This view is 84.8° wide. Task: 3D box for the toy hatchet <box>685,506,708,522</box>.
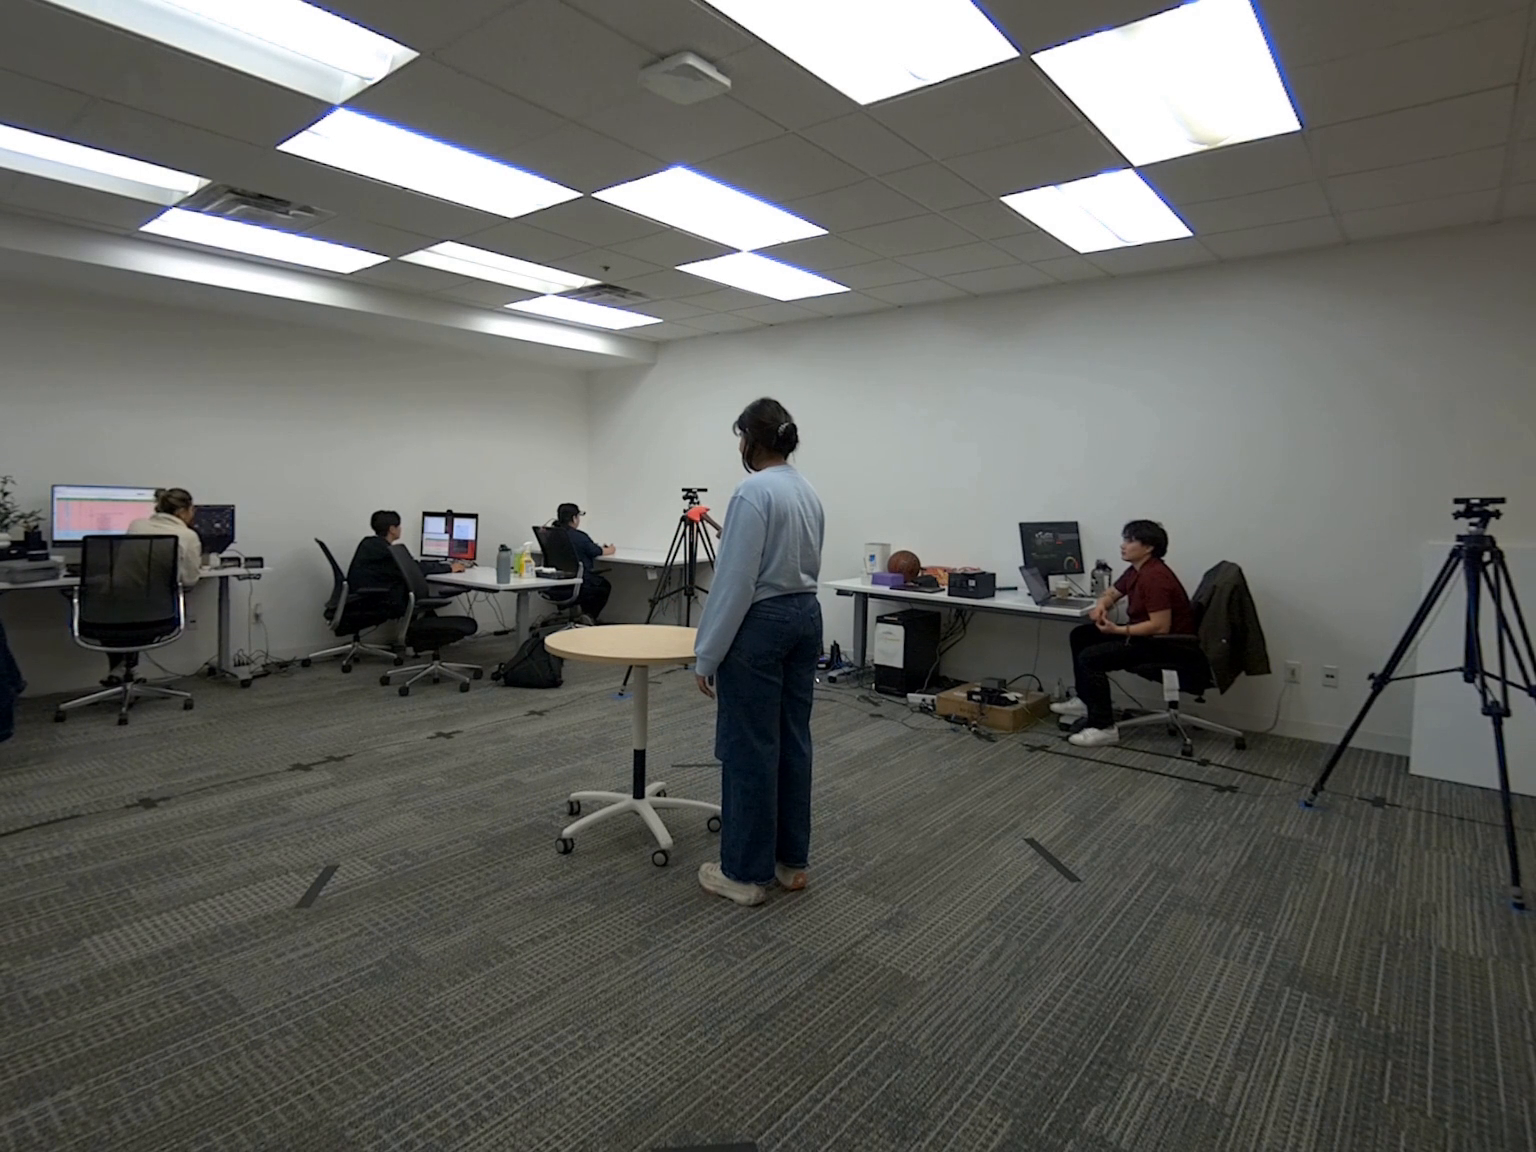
[{"bbox_3d":[-0.212,-0.183,3.208,0.127,0.029,0.281,2,38,-37],"label":"toy hatchet"}]
